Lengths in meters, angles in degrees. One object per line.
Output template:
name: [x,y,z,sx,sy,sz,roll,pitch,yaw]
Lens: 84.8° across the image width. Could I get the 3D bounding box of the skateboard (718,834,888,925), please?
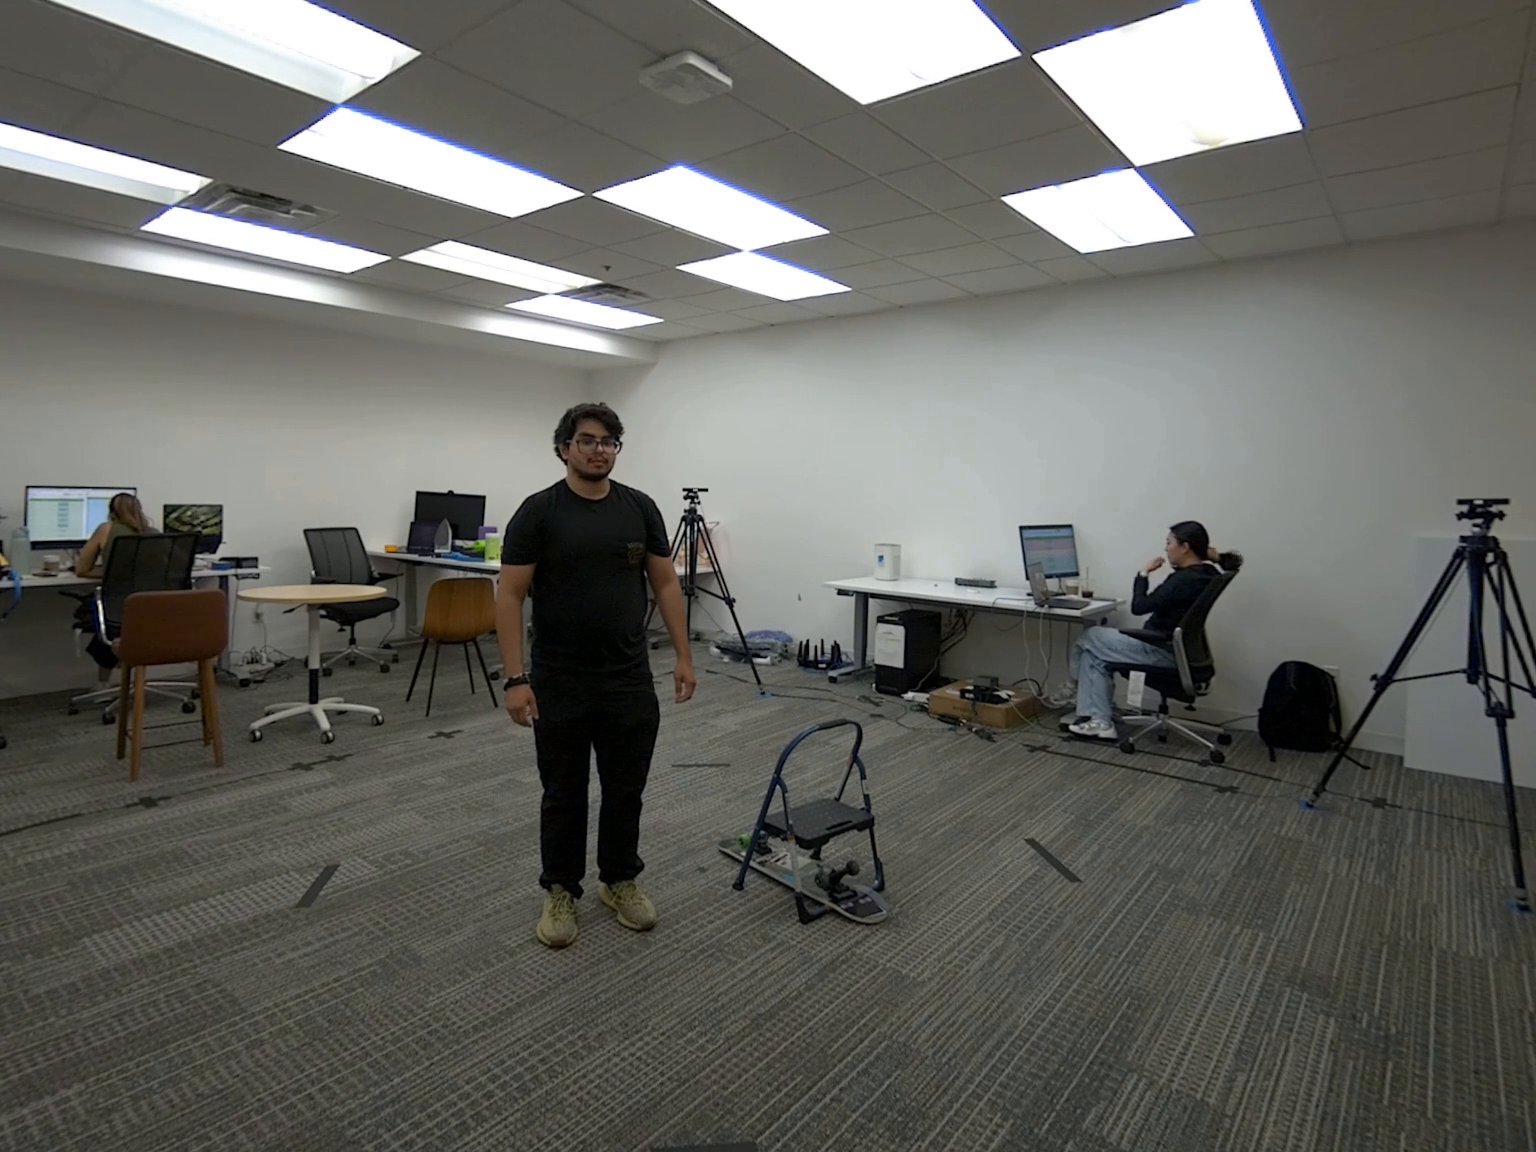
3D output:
skateboard: [0.097,1.029,3.057,0.188,0.110,0.812,-5,8,-42]
